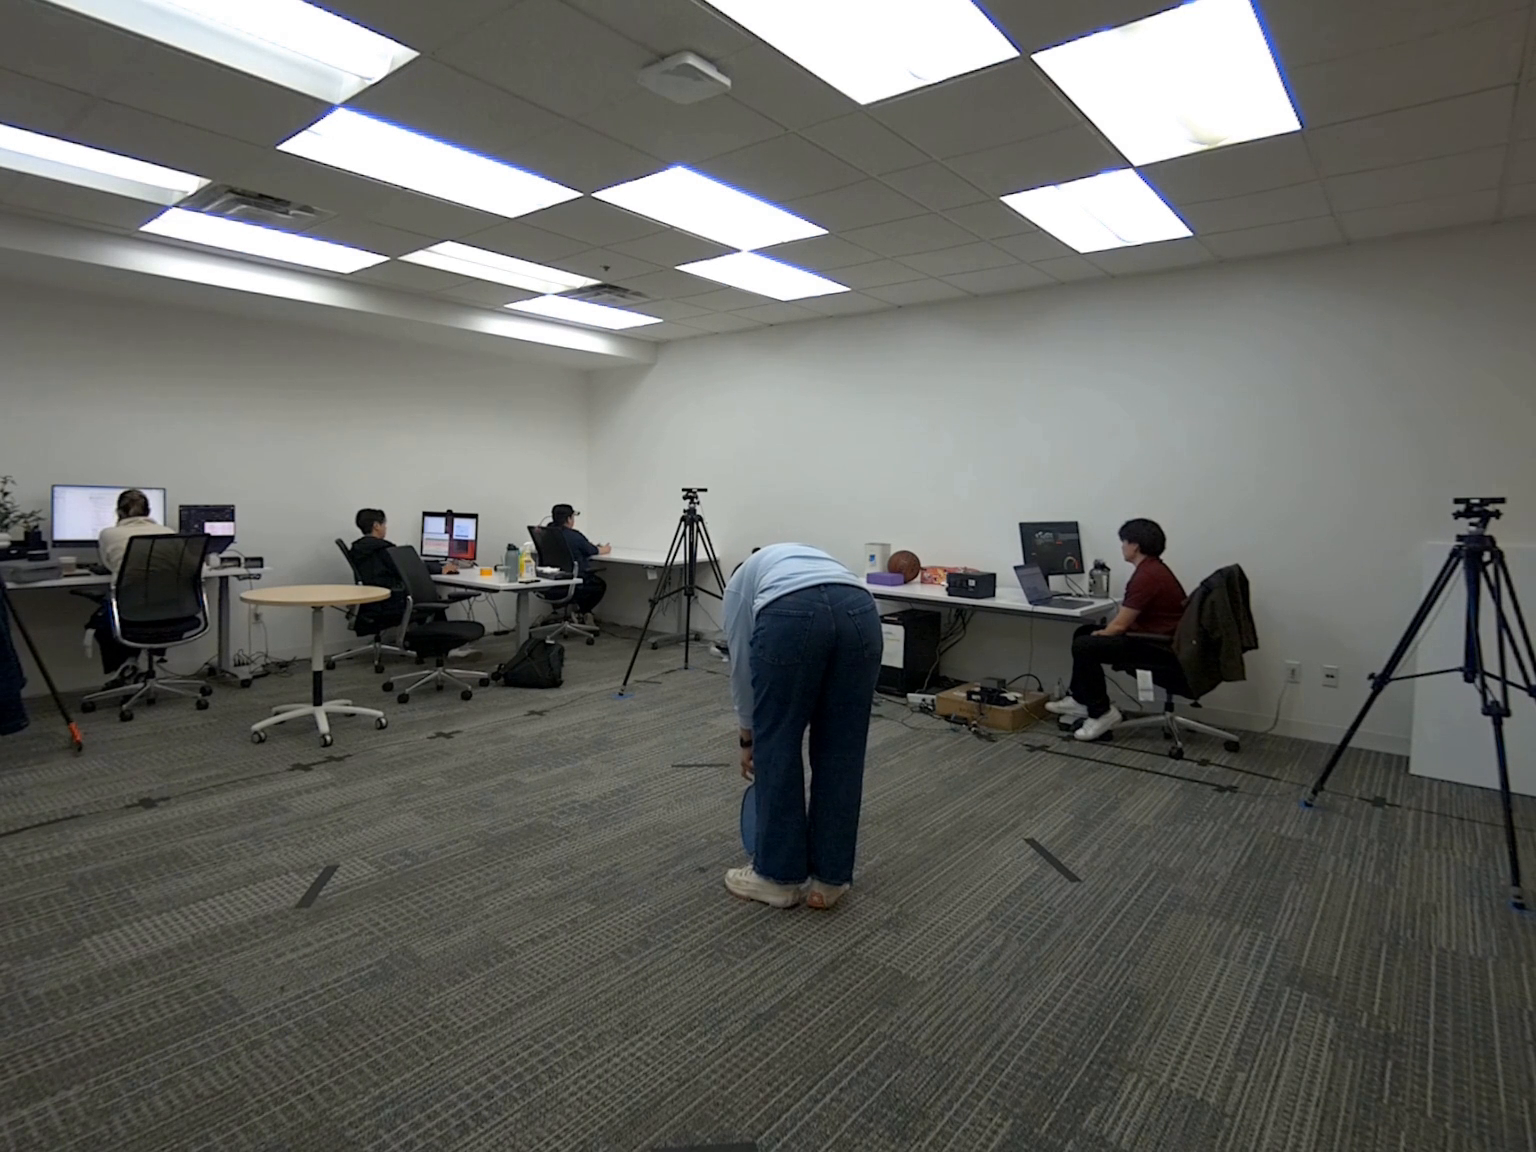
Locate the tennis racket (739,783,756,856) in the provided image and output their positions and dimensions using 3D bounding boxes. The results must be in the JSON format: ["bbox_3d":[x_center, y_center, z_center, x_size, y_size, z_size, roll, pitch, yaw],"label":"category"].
[{"bbox_3d":[-0.061,0.848,3.218,0.031,0.427,0.221,2,18,-21],"label":"tennis racket"}]
